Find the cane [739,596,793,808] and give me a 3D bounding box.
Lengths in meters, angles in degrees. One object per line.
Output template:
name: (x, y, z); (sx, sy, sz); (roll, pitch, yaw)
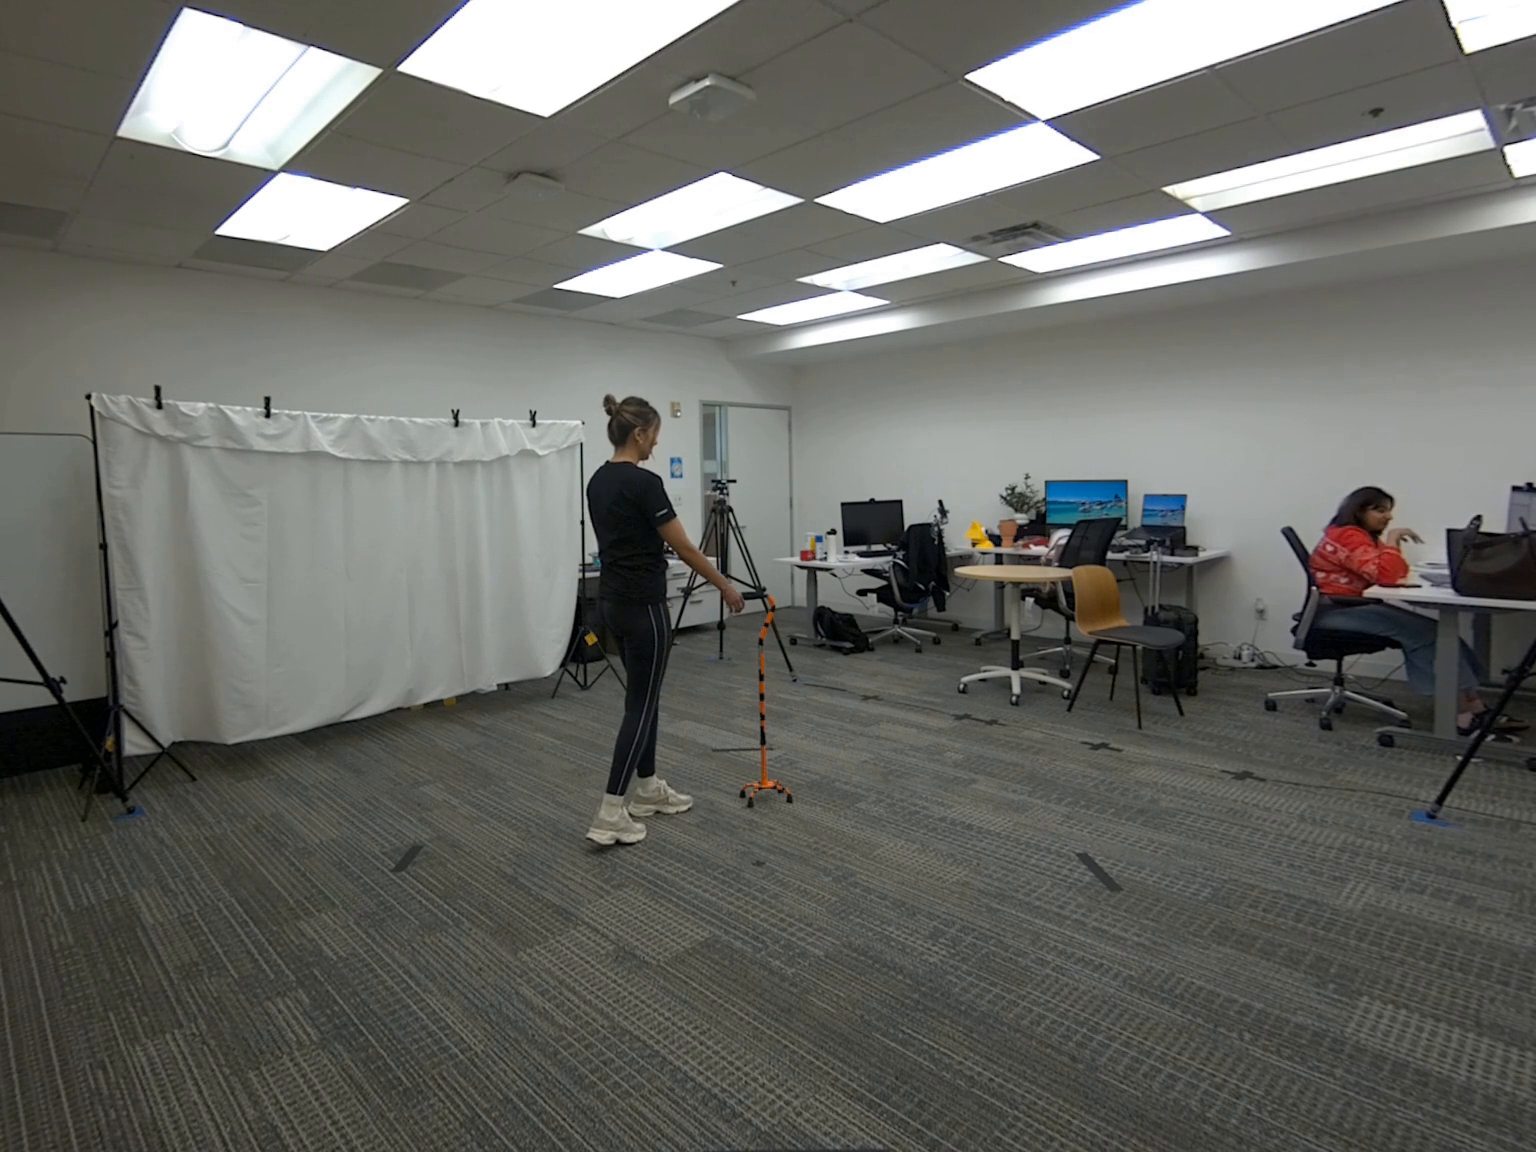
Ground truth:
cane: (-0.017, 0.529, 3.713); (0.203, 0.905, 0.154); (-2, 3, -16)
